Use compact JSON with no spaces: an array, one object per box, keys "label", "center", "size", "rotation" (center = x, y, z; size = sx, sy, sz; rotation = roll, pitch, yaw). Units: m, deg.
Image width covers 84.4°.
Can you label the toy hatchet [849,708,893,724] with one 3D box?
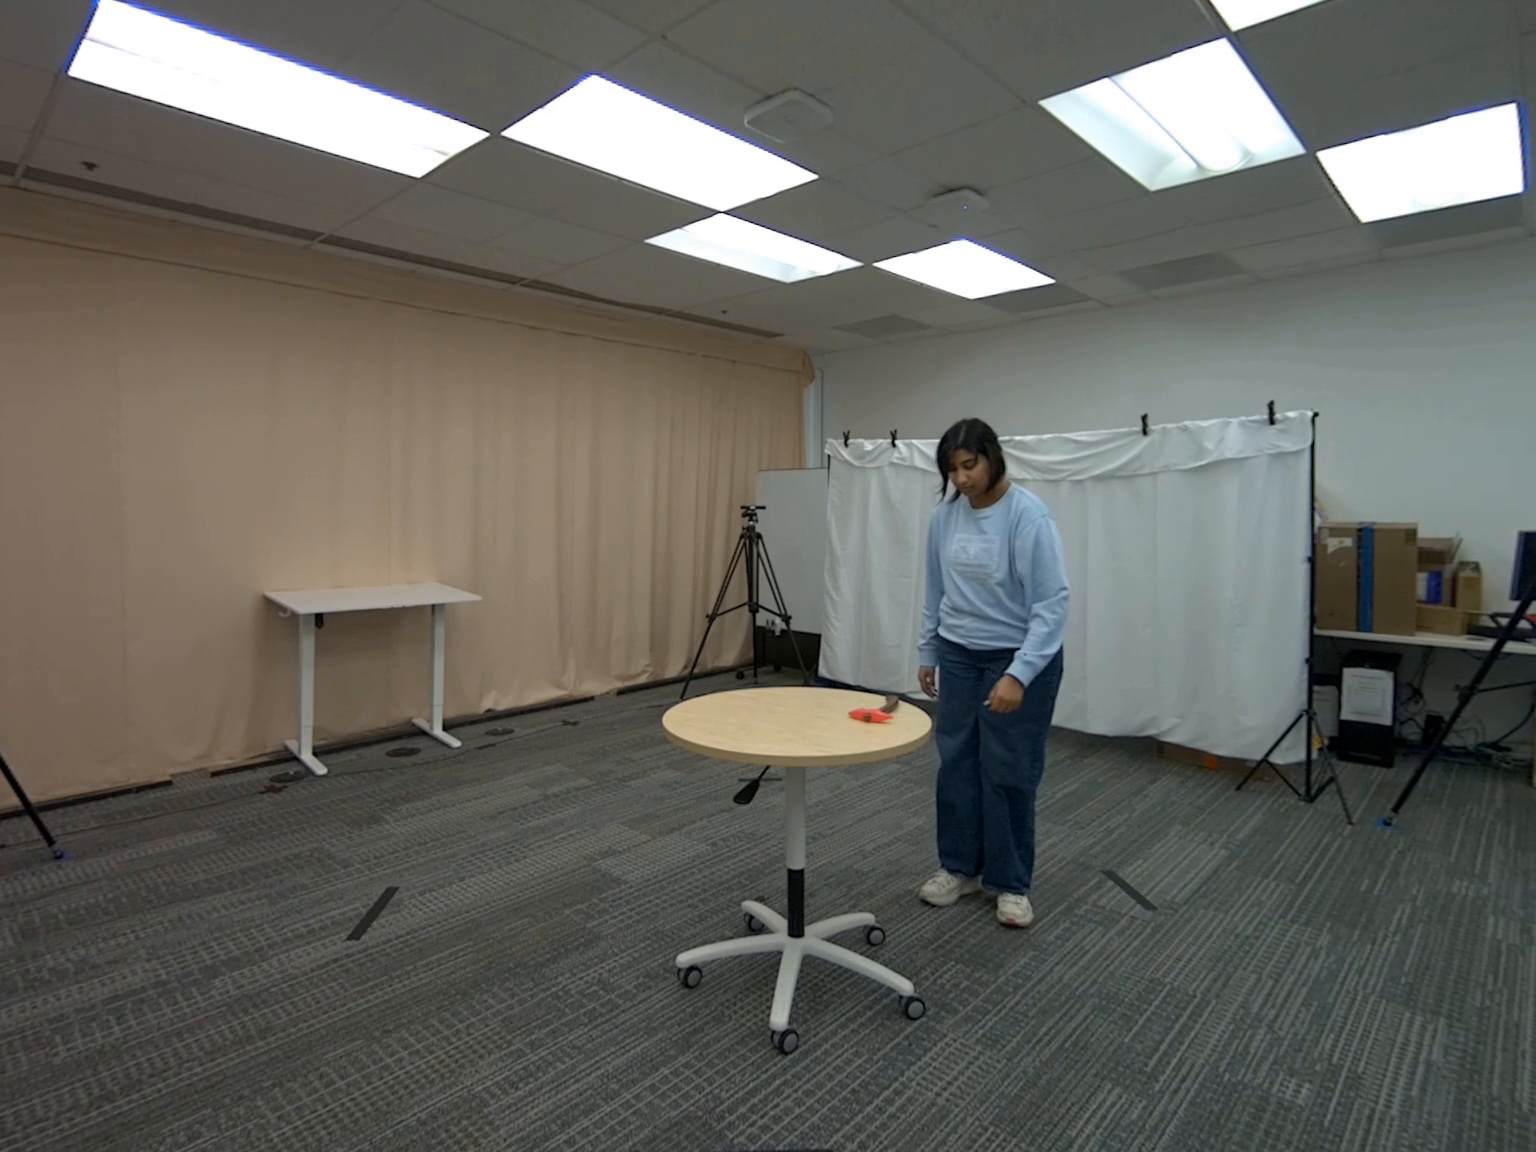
[{"label":"toy hatchet","center":[0.317,0.389,2.453],"size":[0.133,0.029,0.266],"rotation":[-4,2,14]}]
